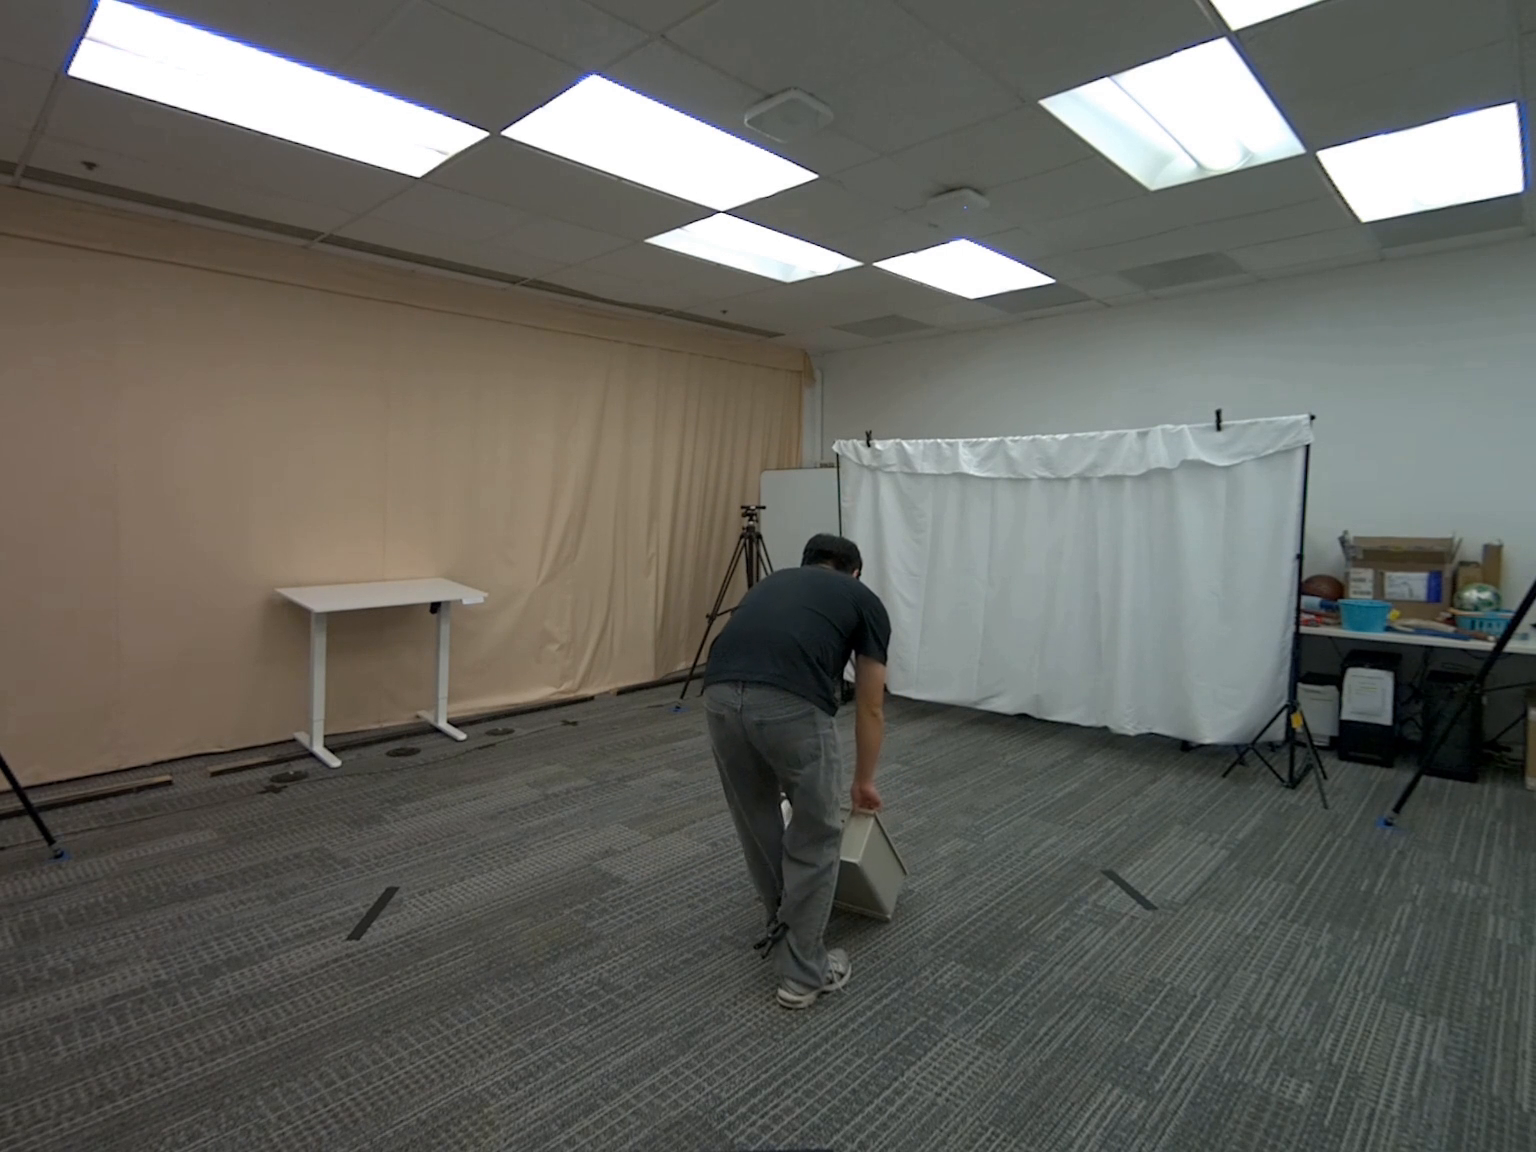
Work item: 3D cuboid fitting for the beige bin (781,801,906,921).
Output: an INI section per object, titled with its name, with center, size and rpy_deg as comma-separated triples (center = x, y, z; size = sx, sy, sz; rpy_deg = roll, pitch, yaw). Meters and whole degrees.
[beige bin]
center = 0.218, 0.942, 2.833
size = 0.389, 0.409, 0.189
rpy_deg = 3, 48, 32
